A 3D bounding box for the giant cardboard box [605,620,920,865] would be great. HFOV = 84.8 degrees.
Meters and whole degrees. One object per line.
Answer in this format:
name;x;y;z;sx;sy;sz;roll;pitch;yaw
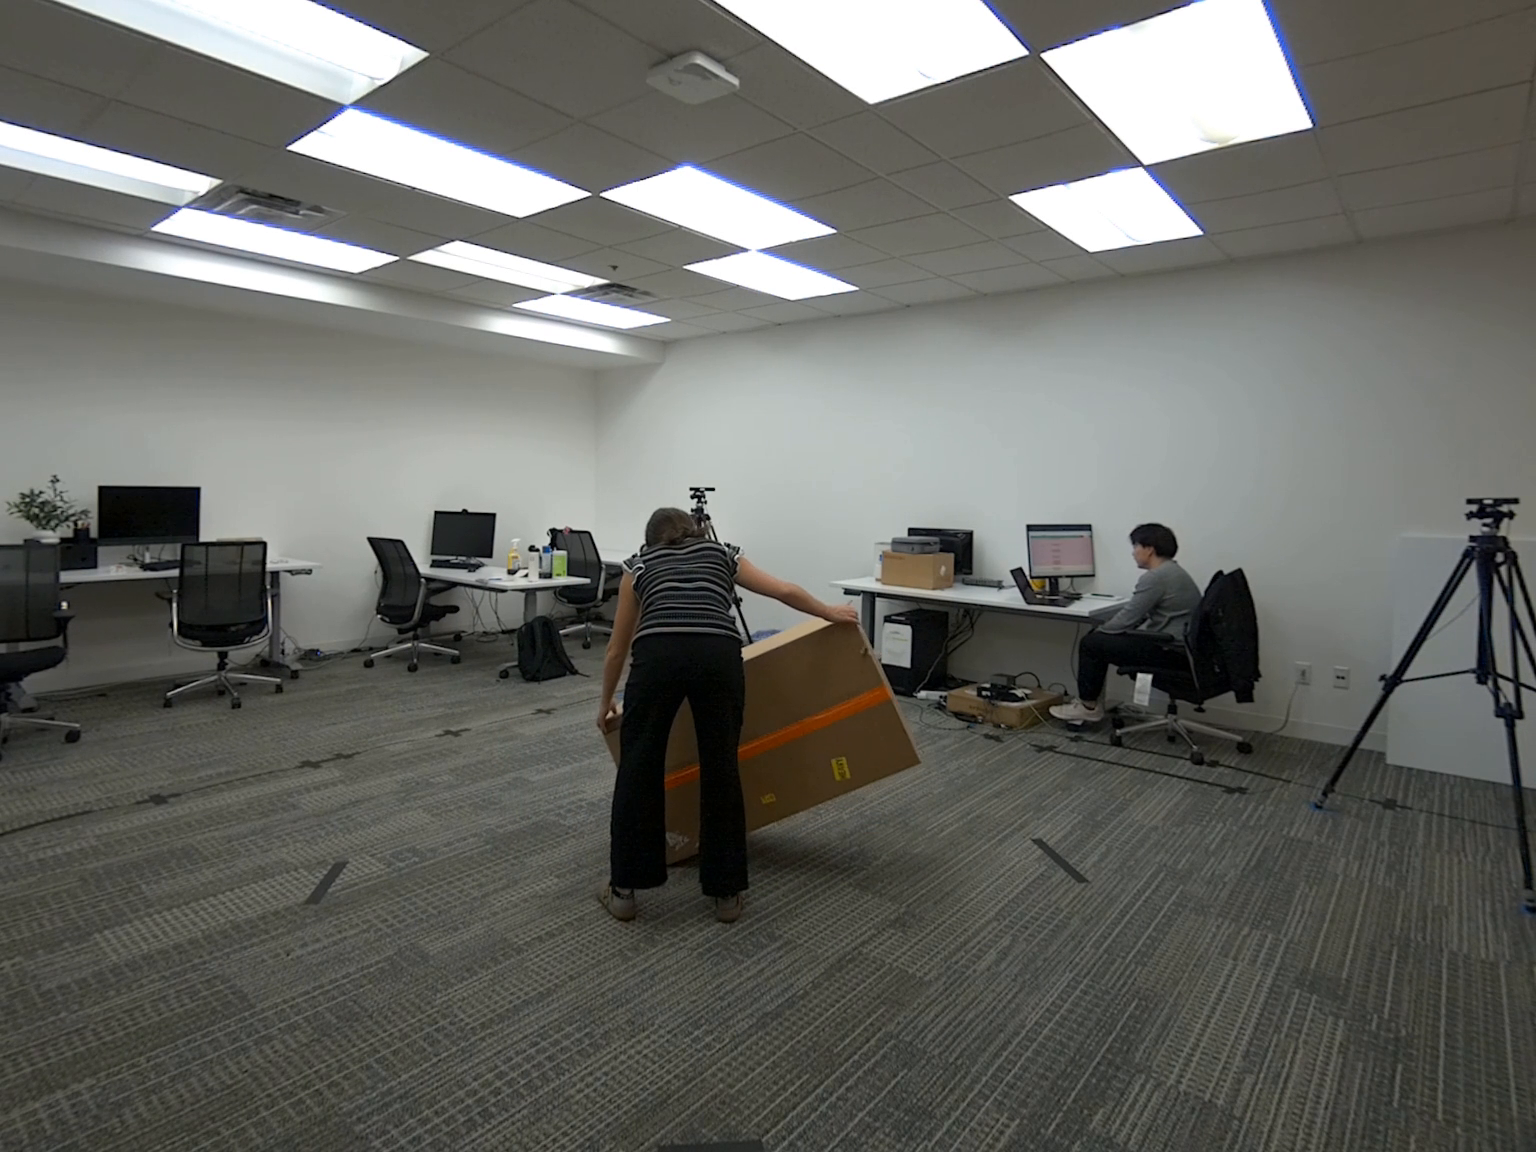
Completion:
giant cardboard box;-0.036;0.582;3.257;1.030;0.578;0.424;-24;0;7
